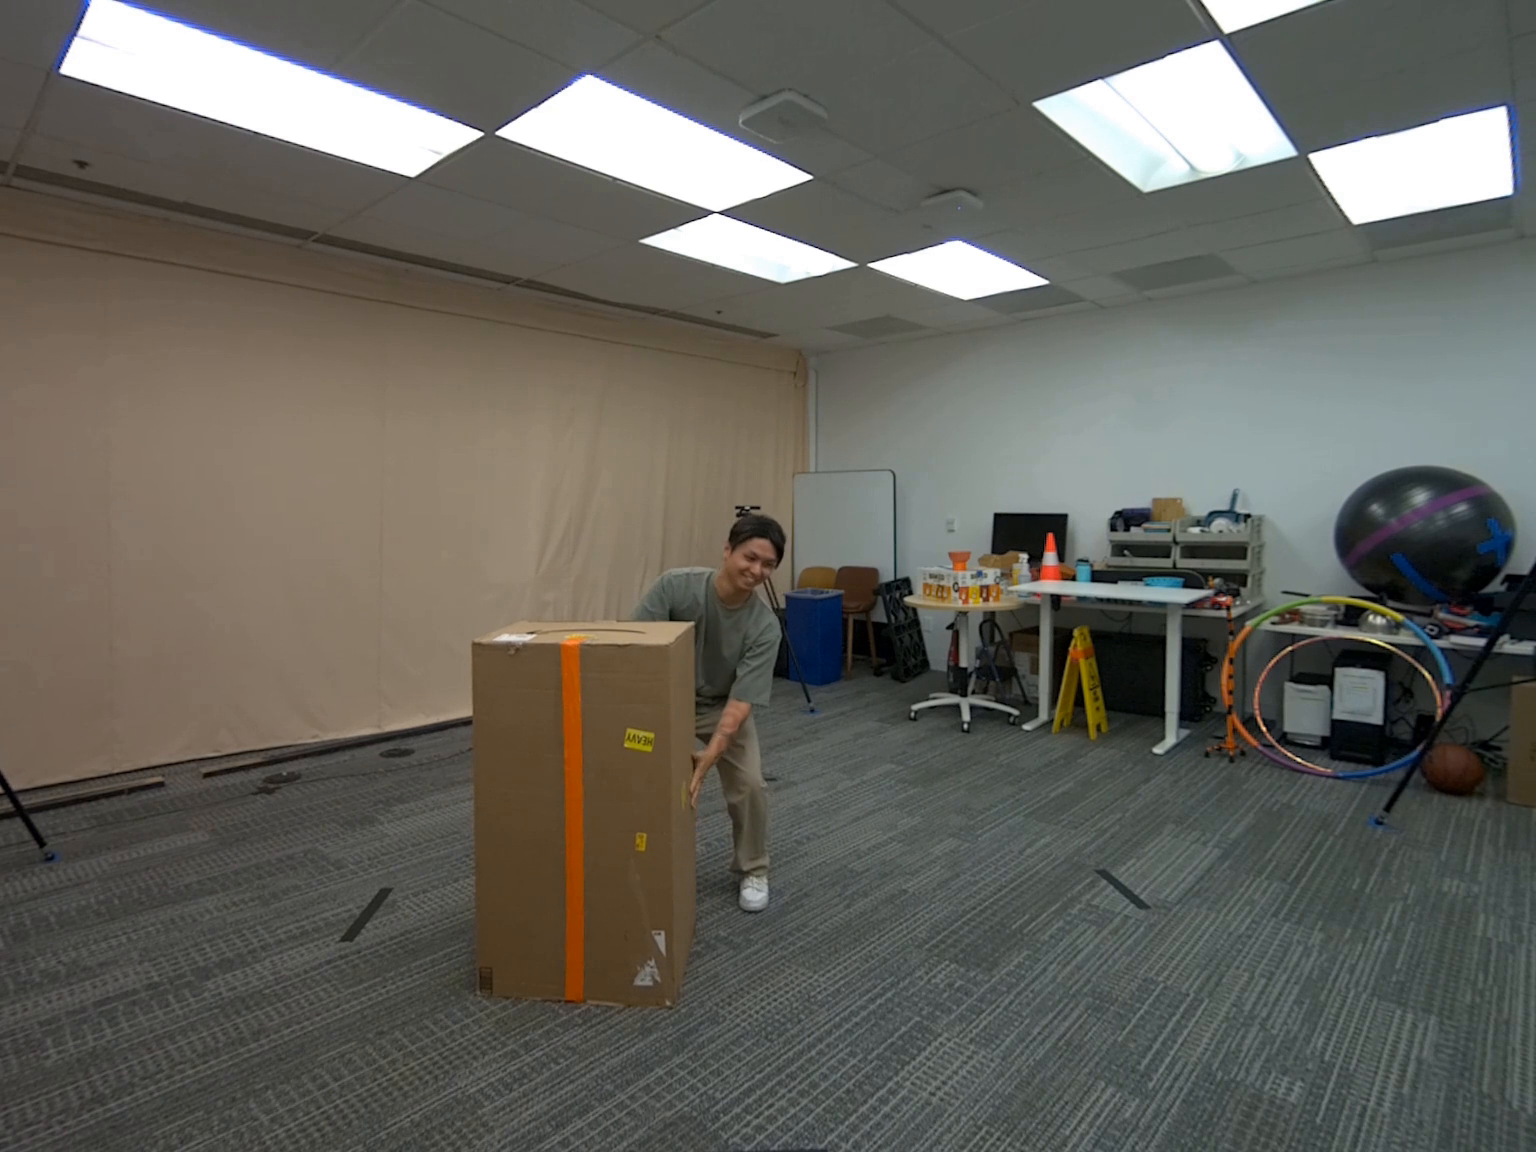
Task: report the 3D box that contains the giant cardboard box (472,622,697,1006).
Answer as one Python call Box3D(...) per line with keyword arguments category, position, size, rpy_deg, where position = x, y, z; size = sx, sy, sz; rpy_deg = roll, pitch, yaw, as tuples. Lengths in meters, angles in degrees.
Box3D(category="giant cardboard box", position=(-0.537, 0.676, 2.540), size=(0.582, 1.024, 0.424), rpy_deg=(0, 3, 6))
